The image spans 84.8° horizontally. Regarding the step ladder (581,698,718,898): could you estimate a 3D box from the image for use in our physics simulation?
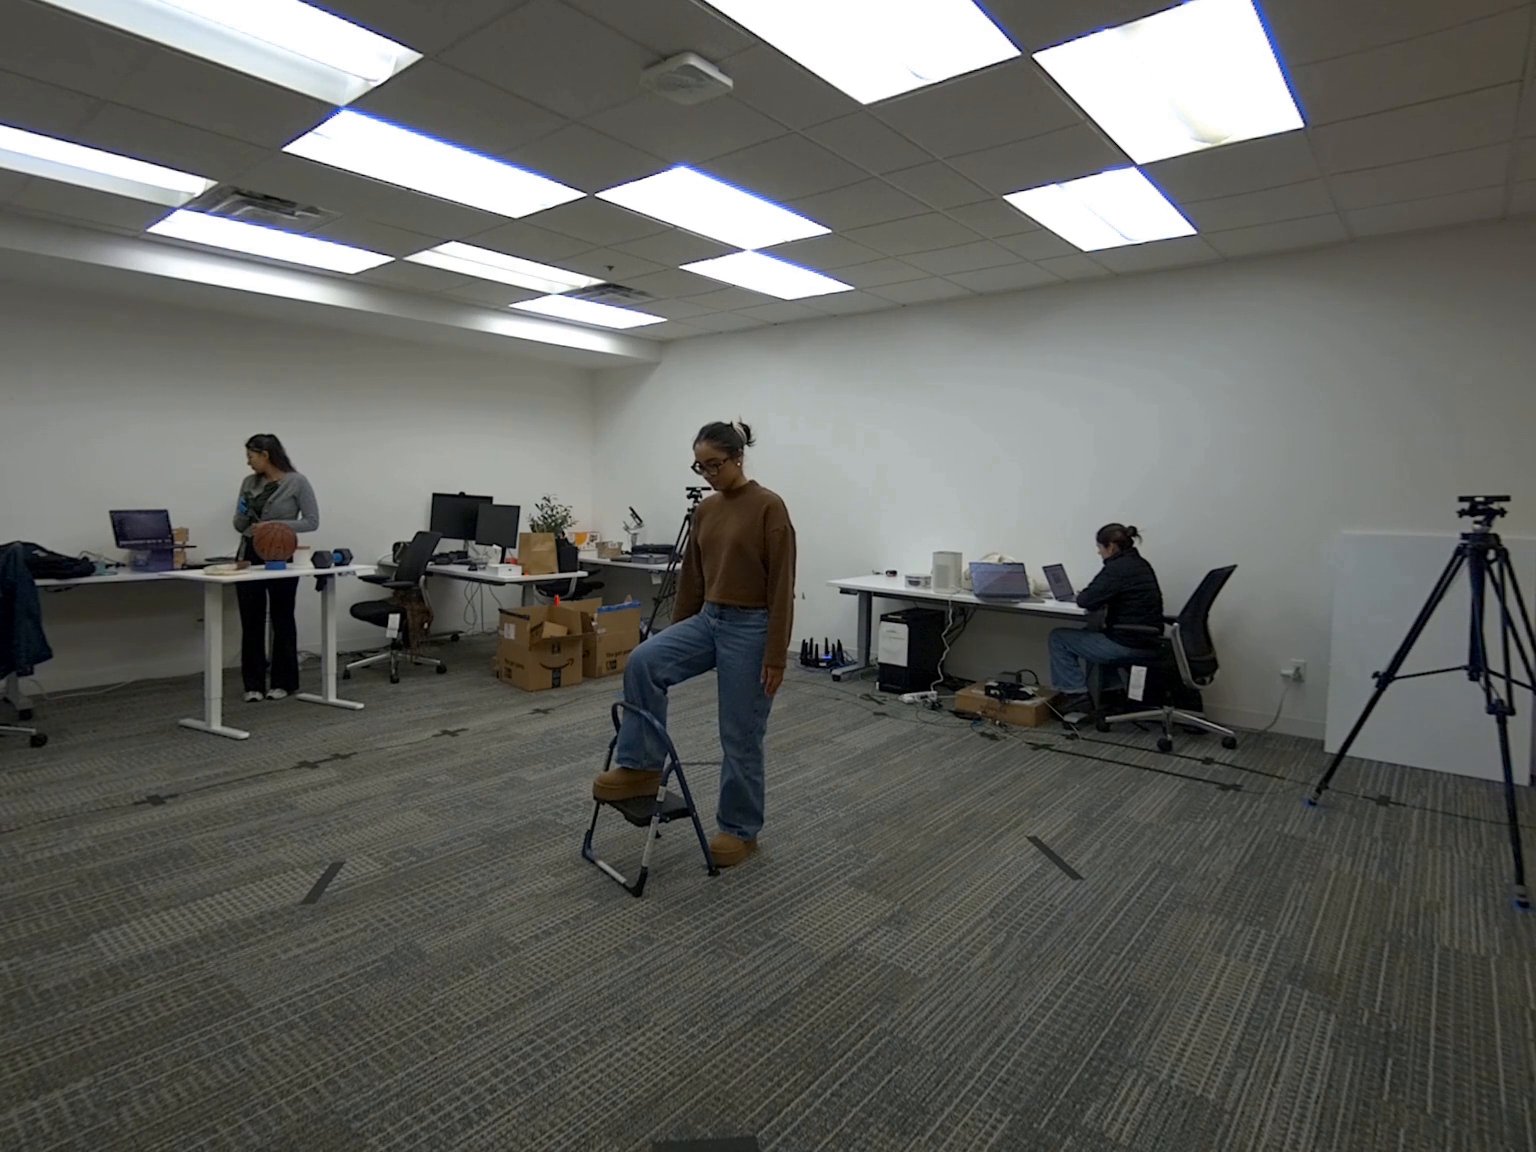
[{"bbox_3d":[-0.444,0.758,3.116,0.339,0.604,0.445,-2,5,-39],"label":"step ladder"}]
